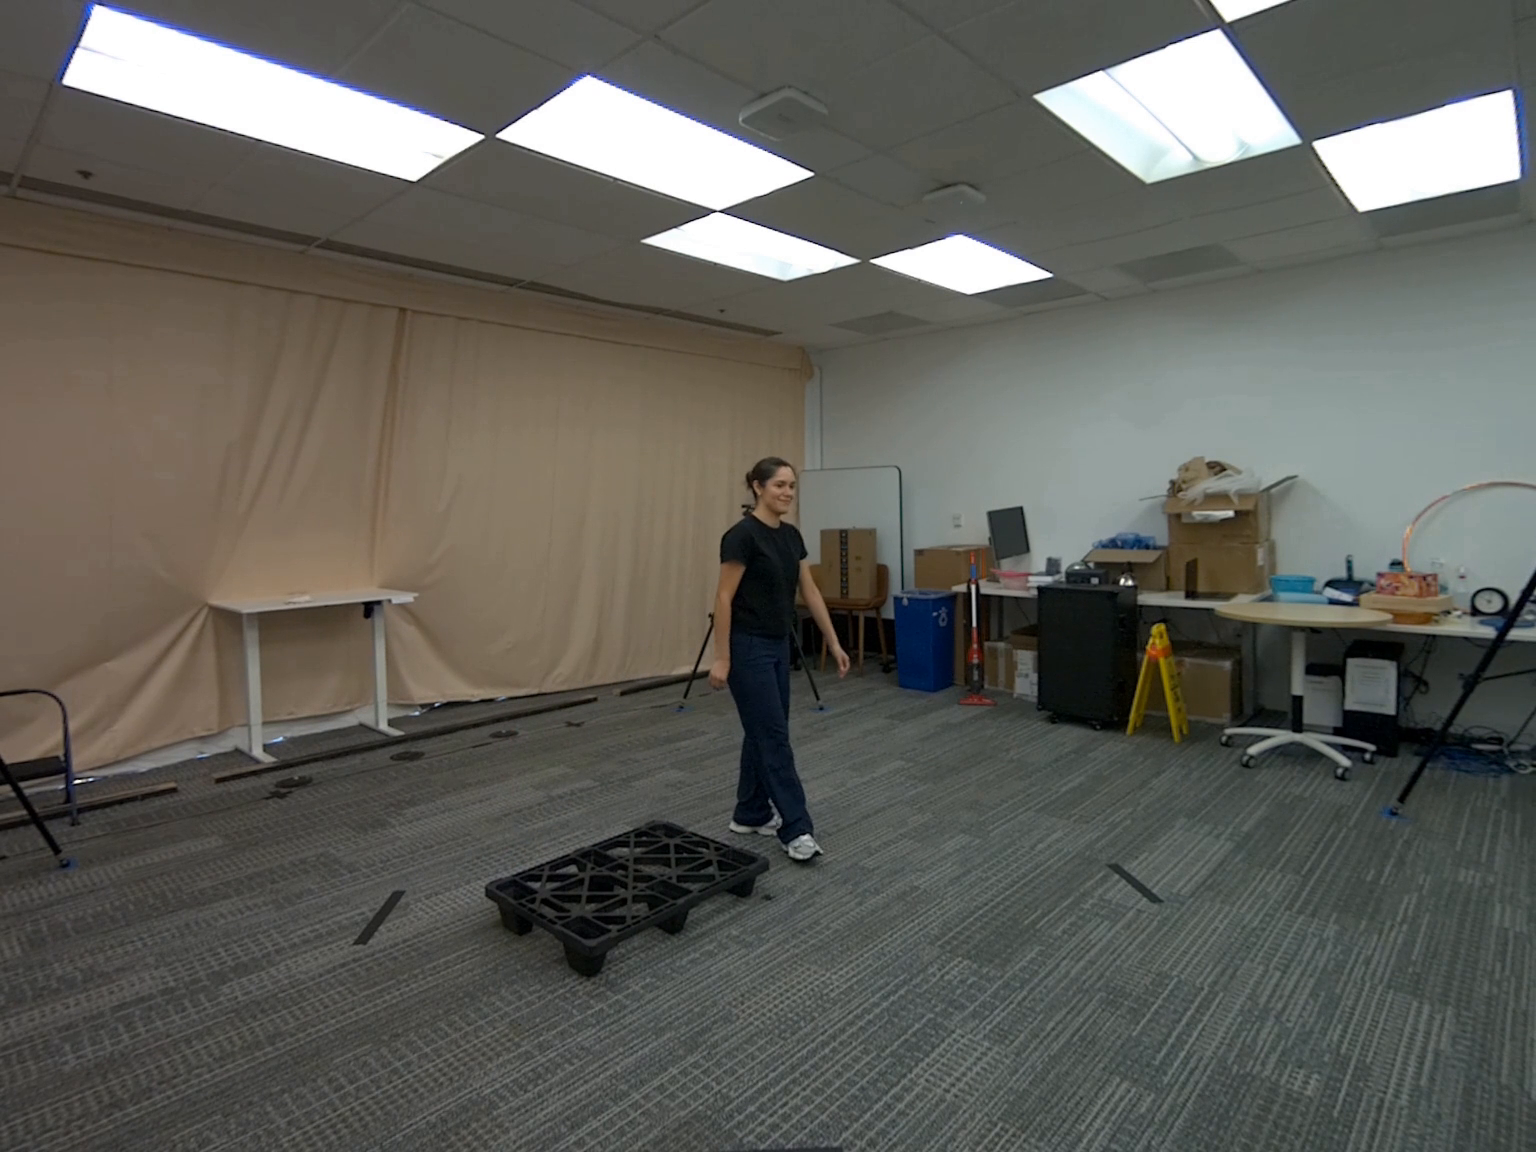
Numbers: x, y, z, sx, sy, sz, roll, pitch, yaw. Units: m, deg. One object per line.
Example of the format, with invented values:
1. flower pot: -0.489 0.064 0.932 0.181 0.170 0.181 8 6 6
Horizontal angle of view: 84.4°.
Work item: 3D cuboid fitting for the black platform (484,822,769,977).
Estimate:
1. black platform: -0.454 1.090 2.912 0.625 0.143 0.781 4 7 42
